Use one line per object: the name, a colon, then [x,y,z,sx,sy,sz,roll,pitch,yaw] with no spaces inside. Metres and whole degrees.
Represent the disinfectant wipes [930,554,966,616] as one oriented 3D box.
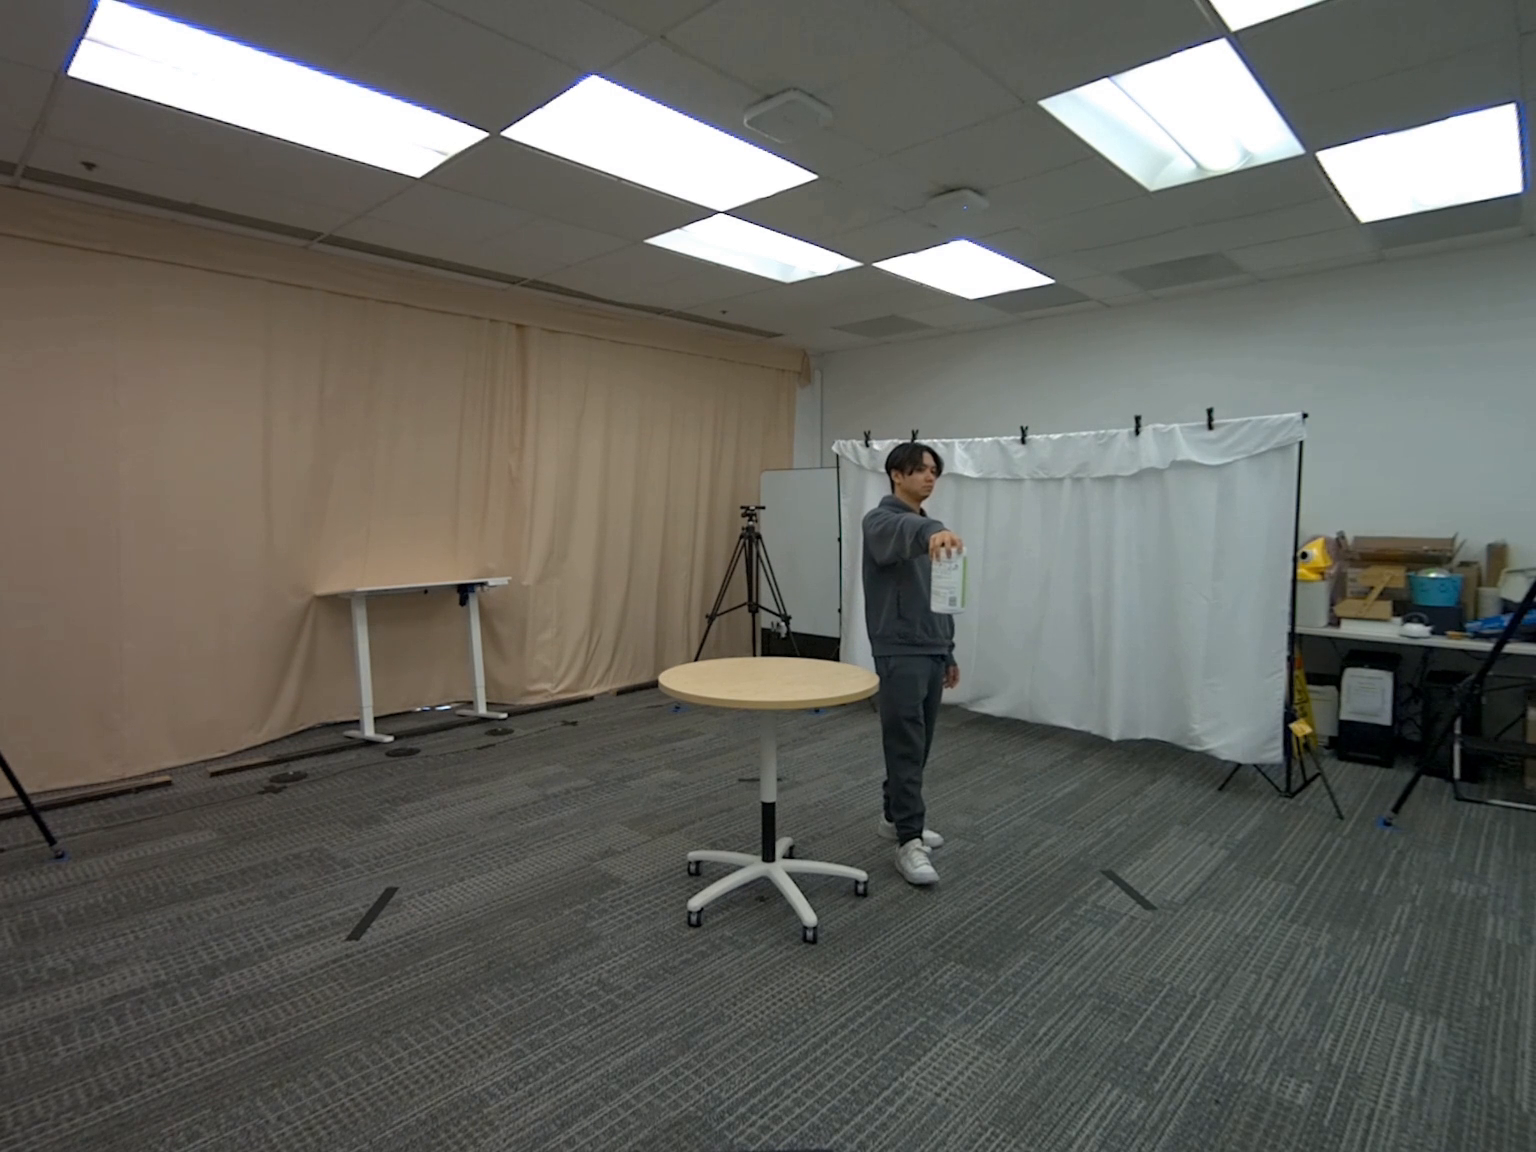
disinfectant wipes: [0.588,0.012,2.743,0.117,0.216,0.118,1,6,-2]
